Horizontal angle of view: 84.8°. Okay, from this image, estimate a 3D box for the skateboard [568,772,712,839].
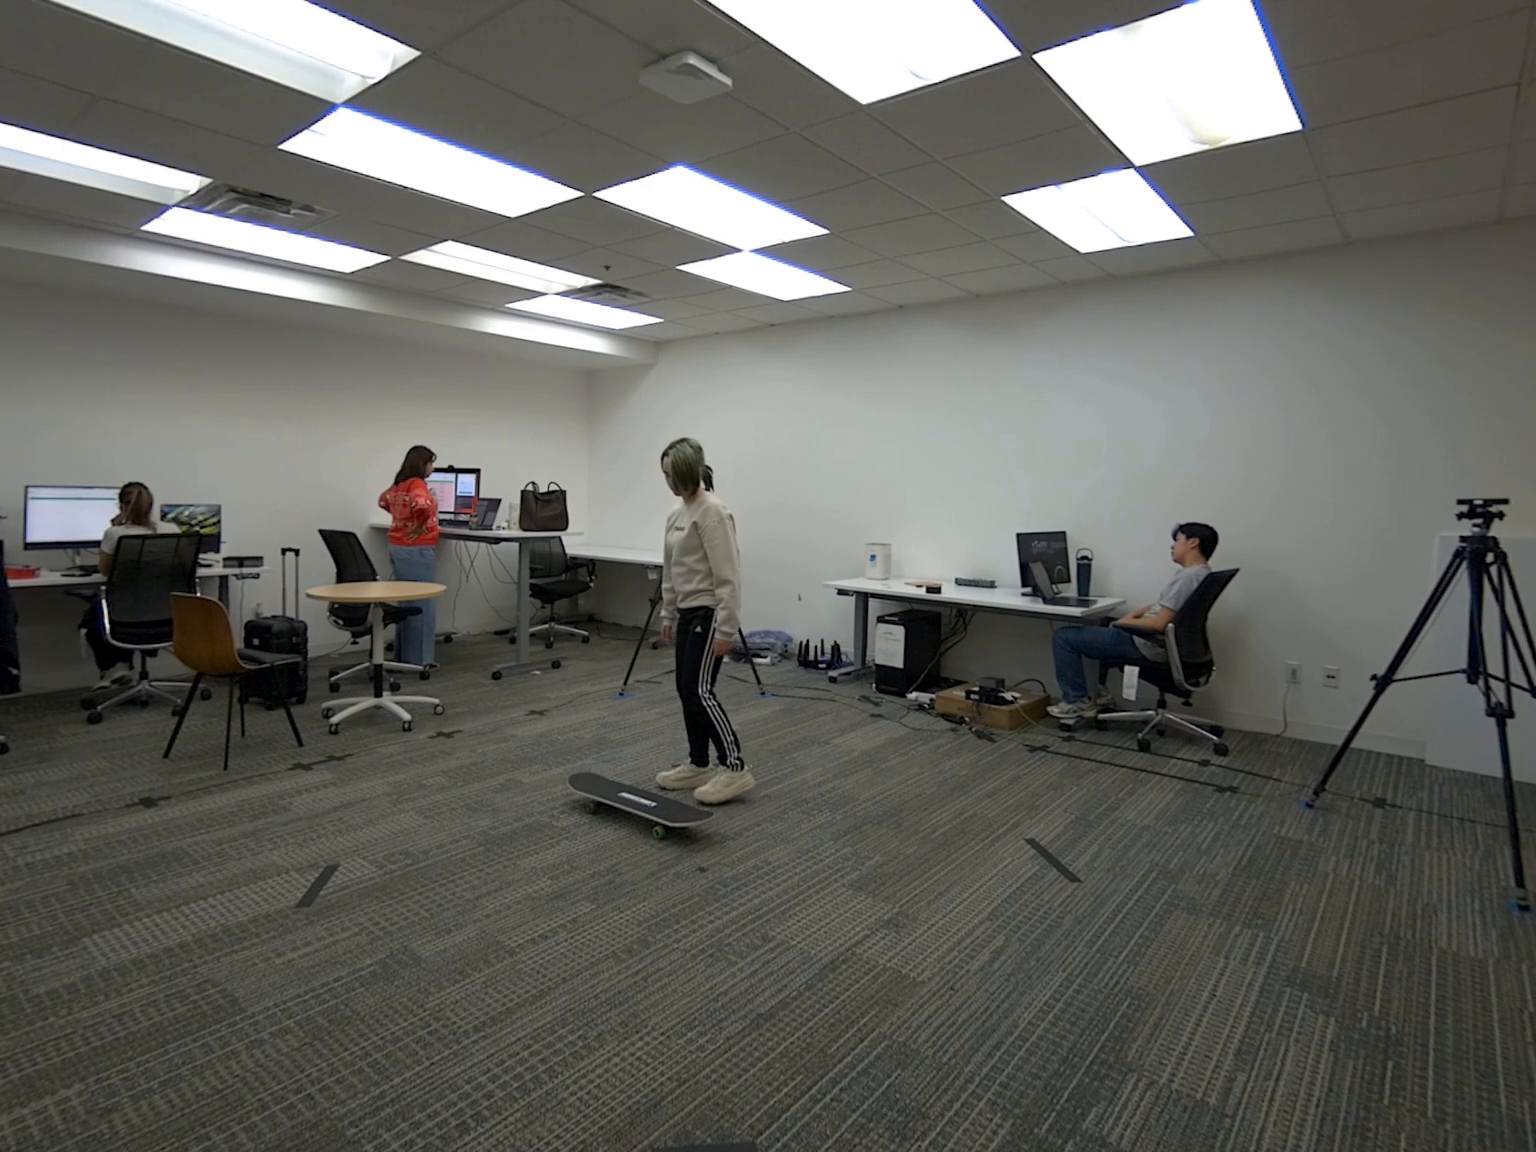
[{"bbox_3d":[-0.561,0.963,3.558,0.812,0.110,0.188,5,8,37],"label":"skateboard"}]
